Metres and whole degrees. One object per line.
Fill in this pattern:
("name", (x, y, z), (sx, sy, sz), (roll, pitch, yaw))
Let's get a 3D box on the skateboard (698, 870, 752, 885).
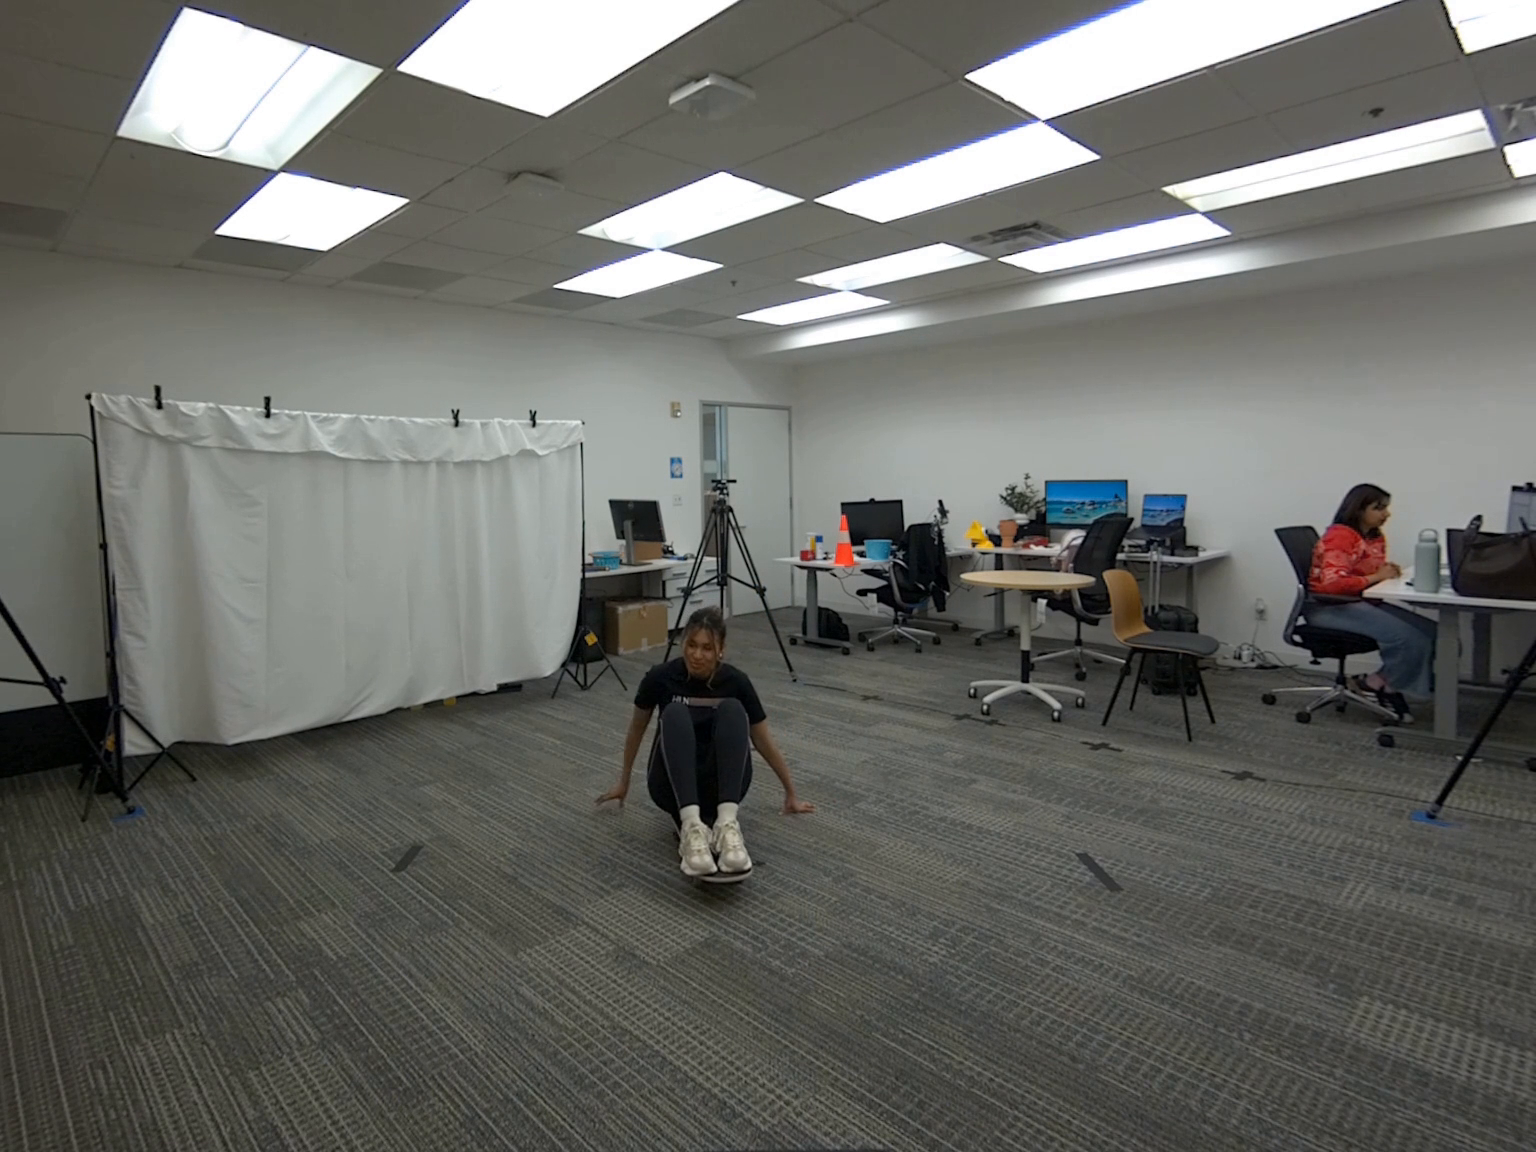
("skateboard", (-0.239, 1.007, 3.157), (0.191, 0.110, 0.799), (-4, 7, -14))
